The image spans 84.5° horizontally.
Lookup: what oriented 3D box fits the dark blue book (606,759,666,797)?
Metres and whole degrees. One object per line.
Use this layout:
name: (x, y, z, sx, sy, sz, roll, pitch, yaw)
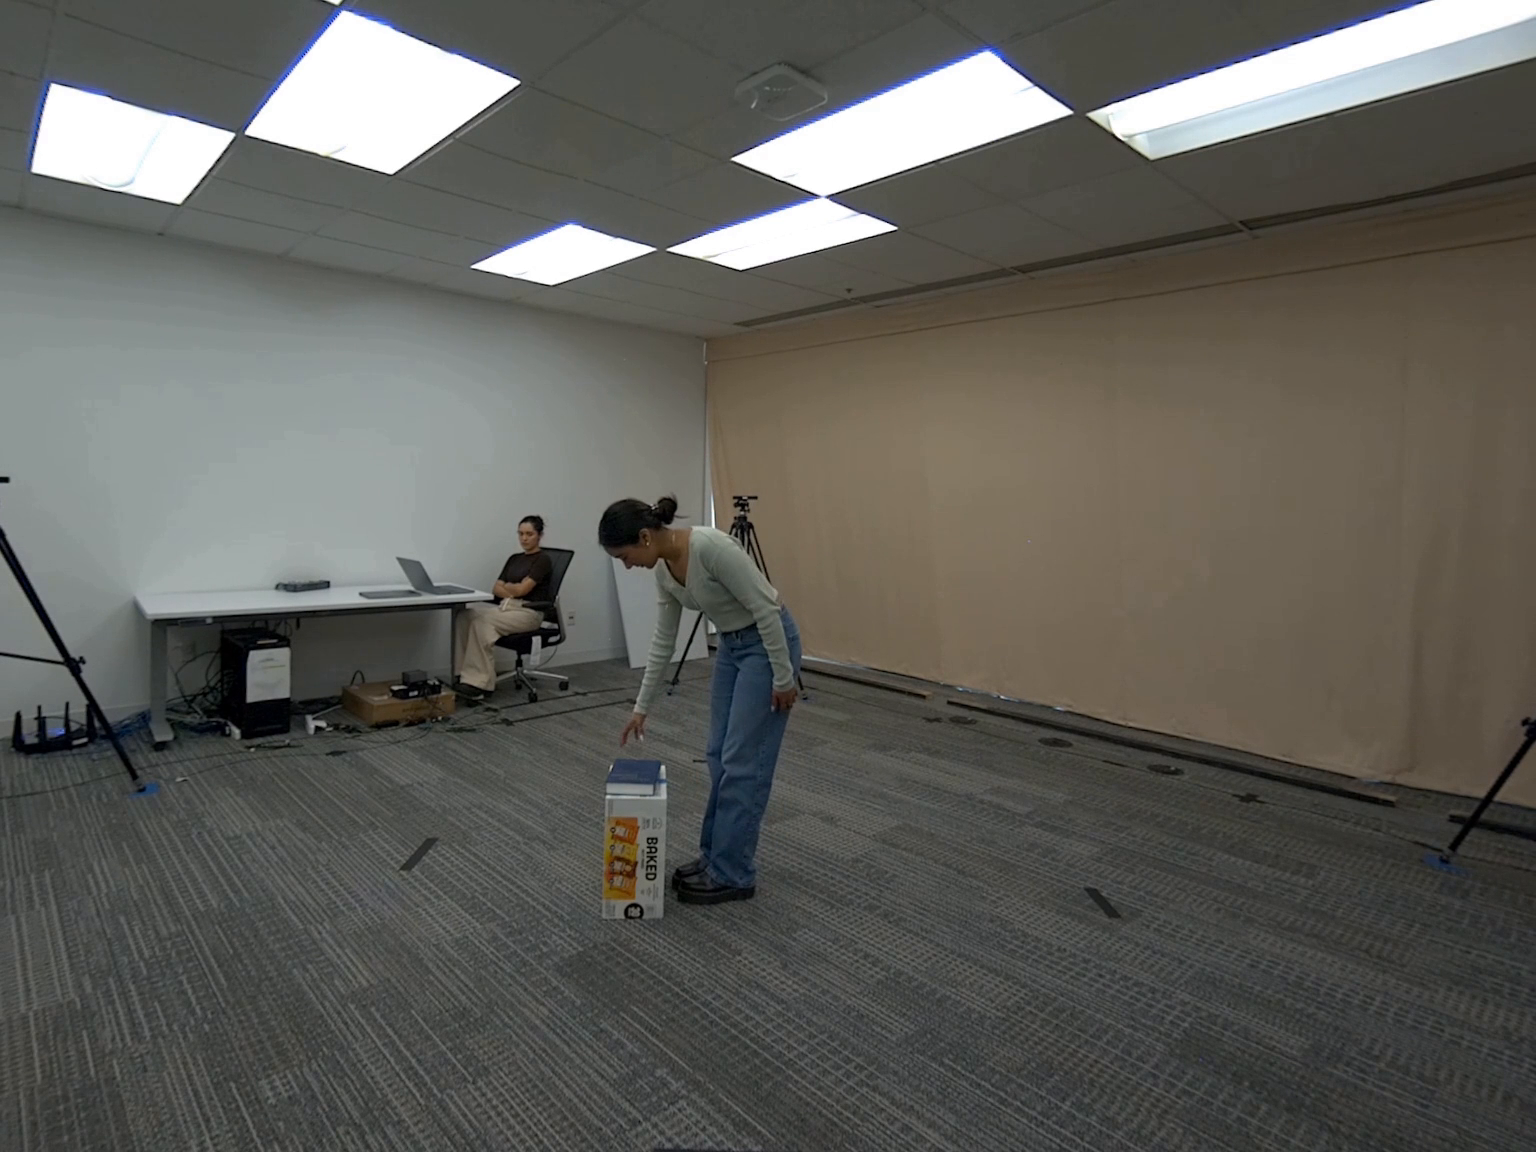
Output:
dark blue book: (-0.458, 0.695, 2.884, 0.163, 0.045, 0.246, 0, 5, -1)
